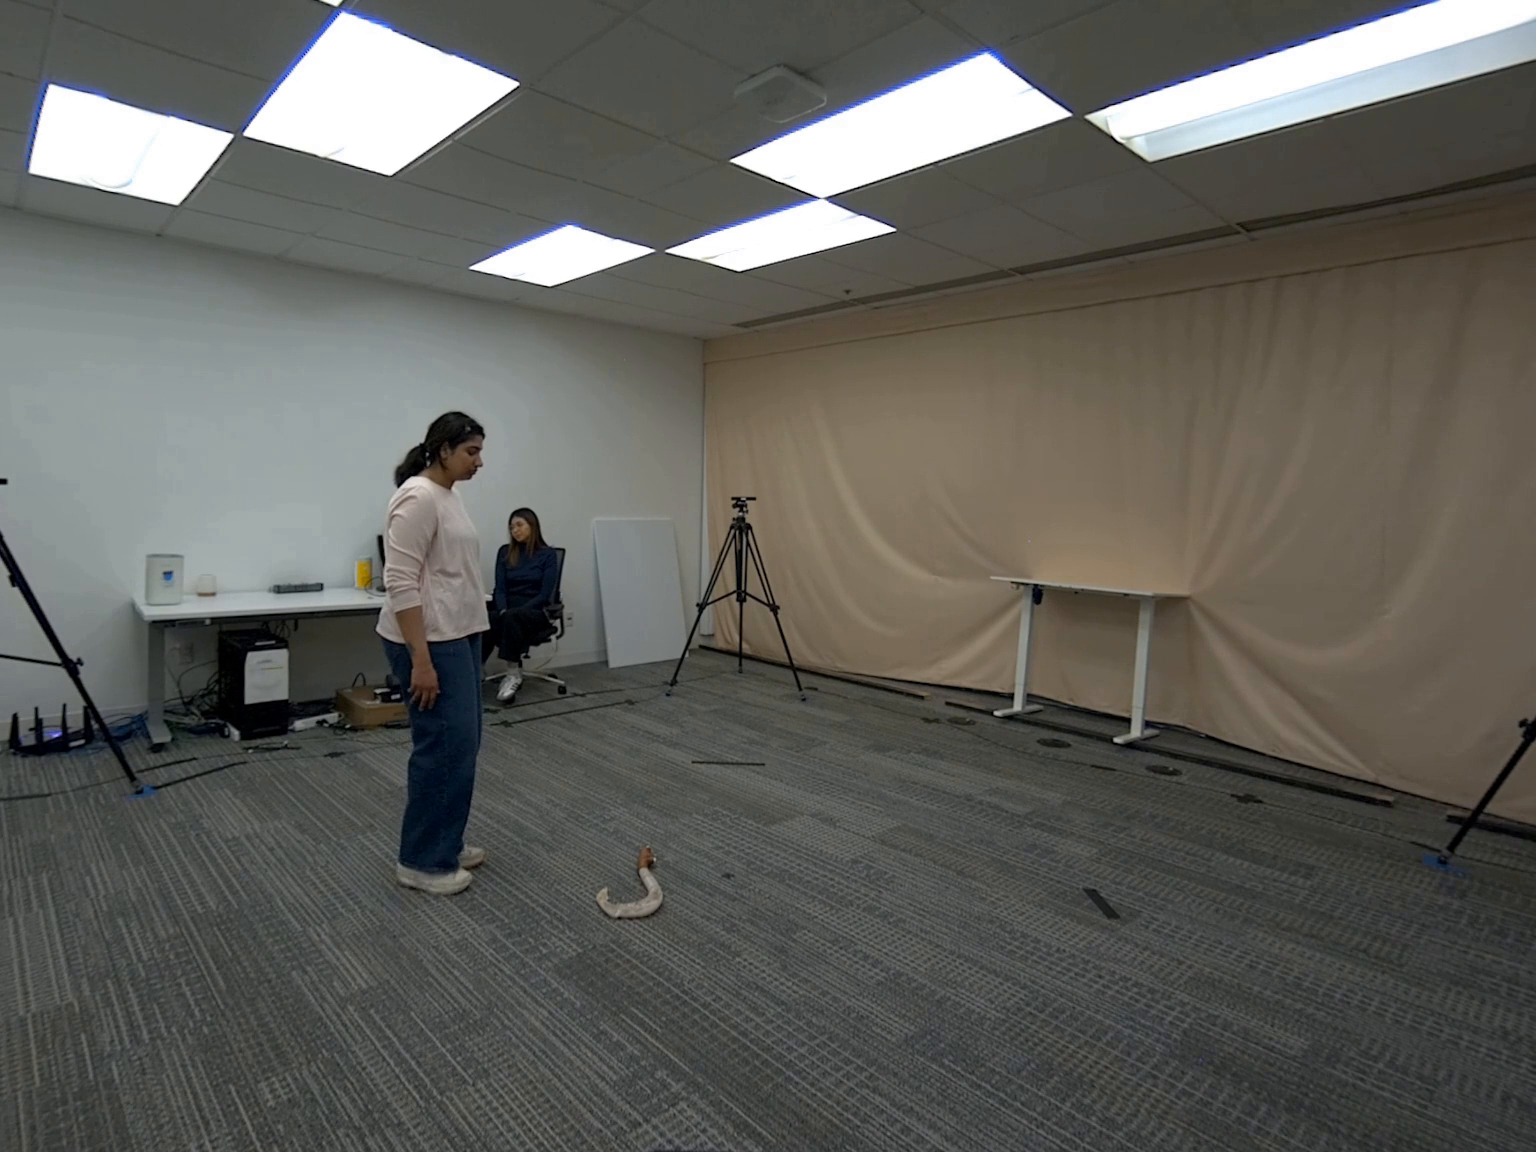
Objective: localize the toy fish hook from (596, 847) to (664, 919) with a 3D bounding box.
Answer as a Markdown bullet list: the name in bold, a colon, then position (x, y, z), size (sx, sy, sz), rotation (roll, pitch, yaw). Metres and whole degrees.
- **toy fish hook**: position (-0.498, 1.084, 3.013), size (0.223, 0.048, 0.511), rotation (2, 5, -8)
